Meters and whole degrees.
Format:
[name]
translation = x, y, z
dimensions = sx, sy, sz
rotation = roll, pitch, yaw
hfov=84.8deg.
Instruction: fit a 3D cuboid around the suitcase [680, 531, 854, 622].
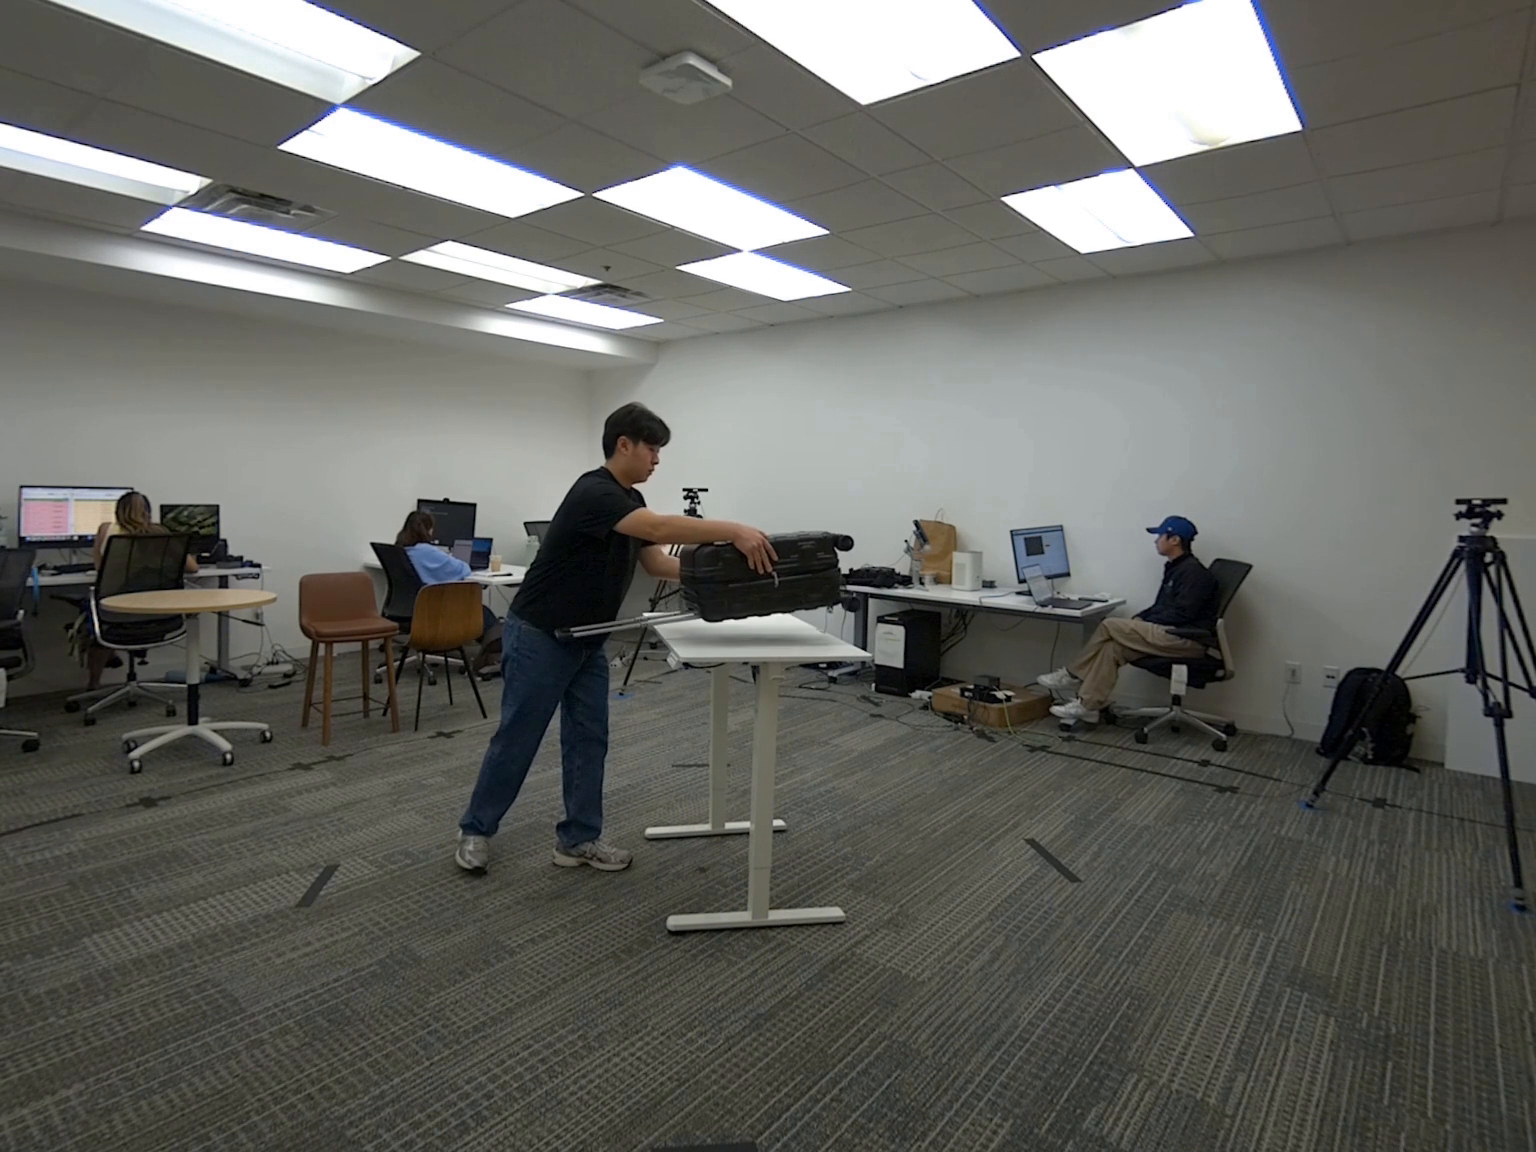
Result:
[suitcase]
translation = -0.235, 0.013, 2.843
dimensions = 0.968, 0.257, 0.388
rotation = -5, 1, -11
